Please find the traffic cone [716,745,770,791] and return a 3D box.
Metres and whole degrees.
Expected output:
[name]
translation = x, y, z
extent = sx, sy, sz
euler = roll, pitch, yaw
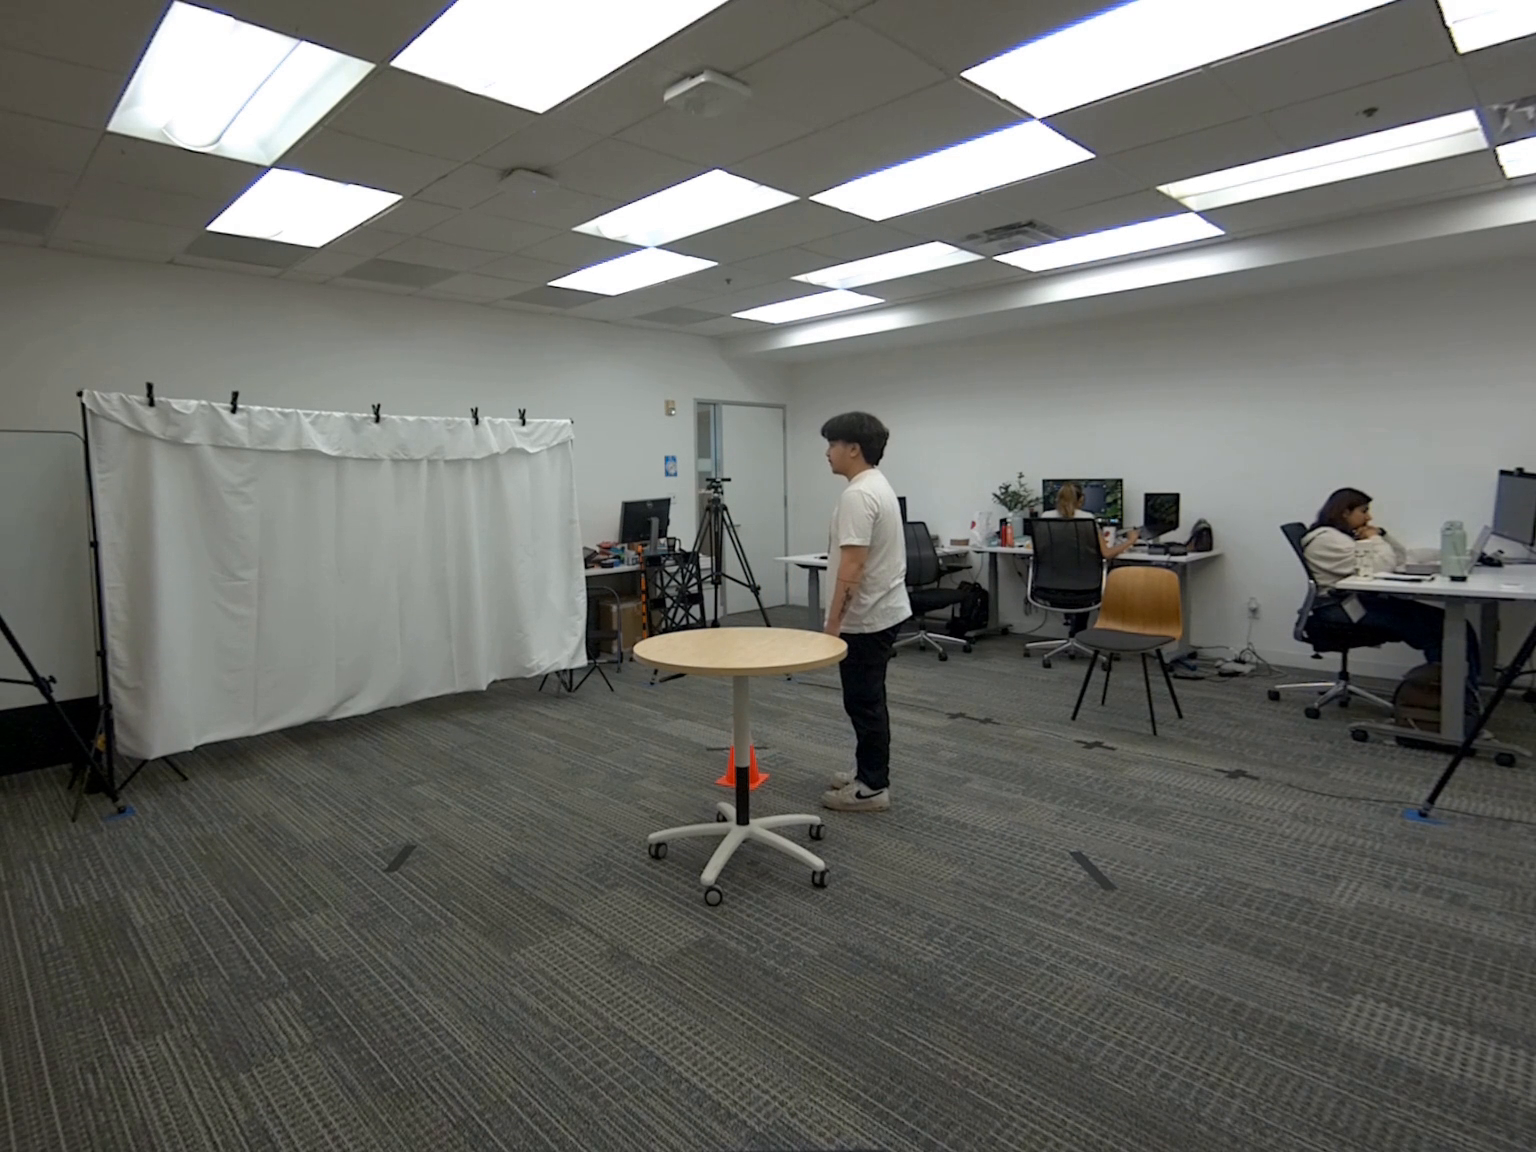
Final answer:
[traffic cone]
translation = -0.123, 0.761, 3.969
extent = 0.210, 0.382, 0.198
euler = 0, 5, 35
